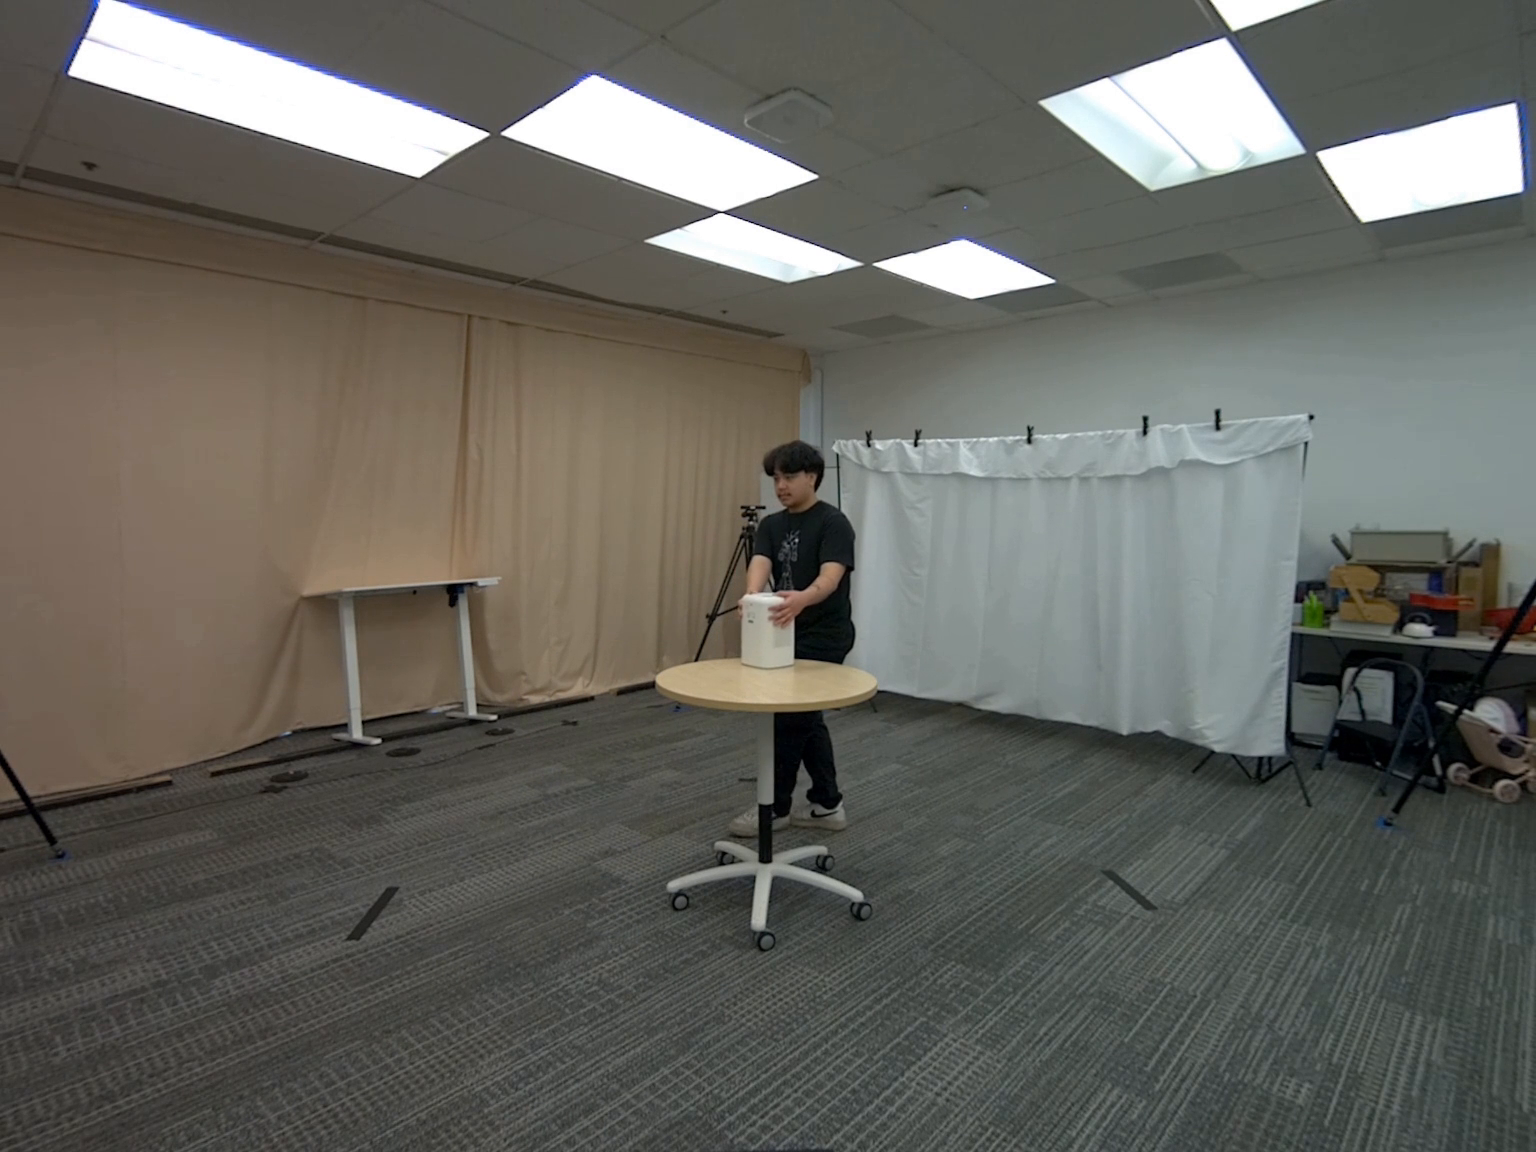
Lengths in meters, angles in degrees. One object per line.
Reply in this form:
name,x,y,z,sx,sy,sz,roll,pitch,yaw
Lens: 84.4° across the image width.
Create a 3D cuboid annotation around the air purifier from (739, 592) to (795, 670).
air purifier,-0.001,0.201,3.175,0.166,0.265,0.176,-1,0,-36
